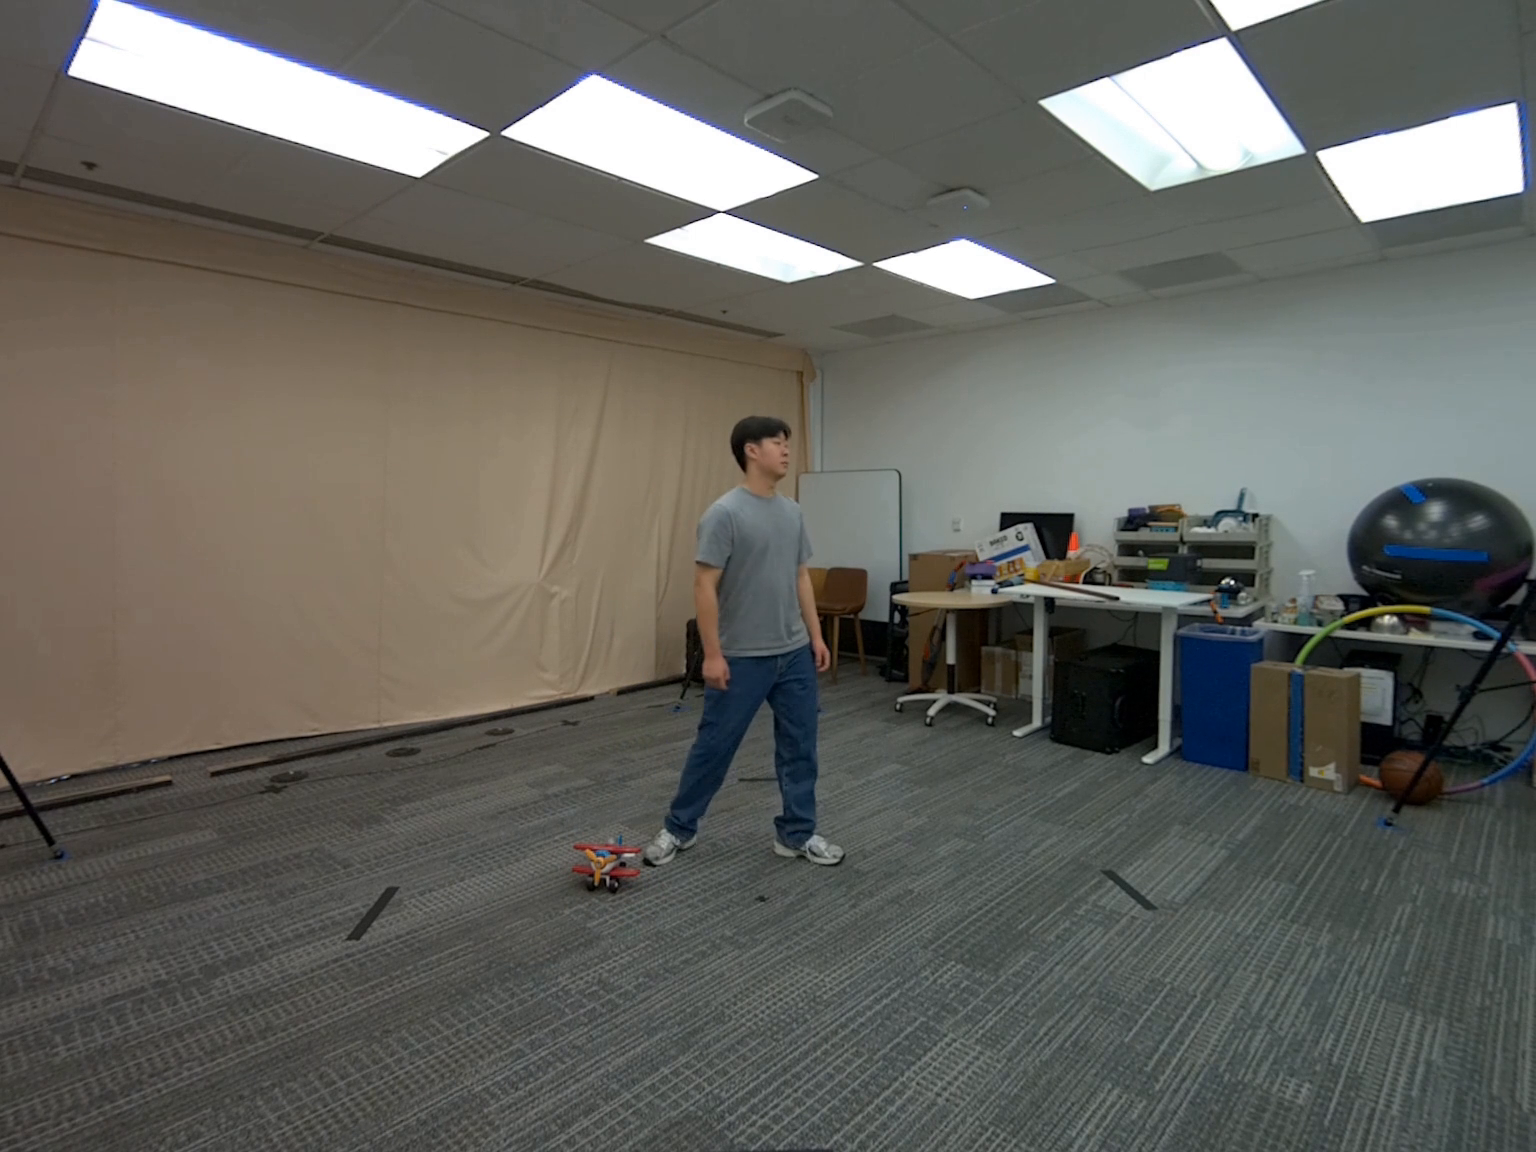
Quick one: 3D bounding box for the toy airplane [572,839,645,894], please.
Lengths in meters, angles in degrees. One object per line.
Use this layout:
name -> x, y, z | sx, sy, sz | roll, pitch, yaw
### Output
toy airplane -> -0.608, 1.064, 3.134 | 0.247, 0.156, 0.264 | -1, 4, -18
